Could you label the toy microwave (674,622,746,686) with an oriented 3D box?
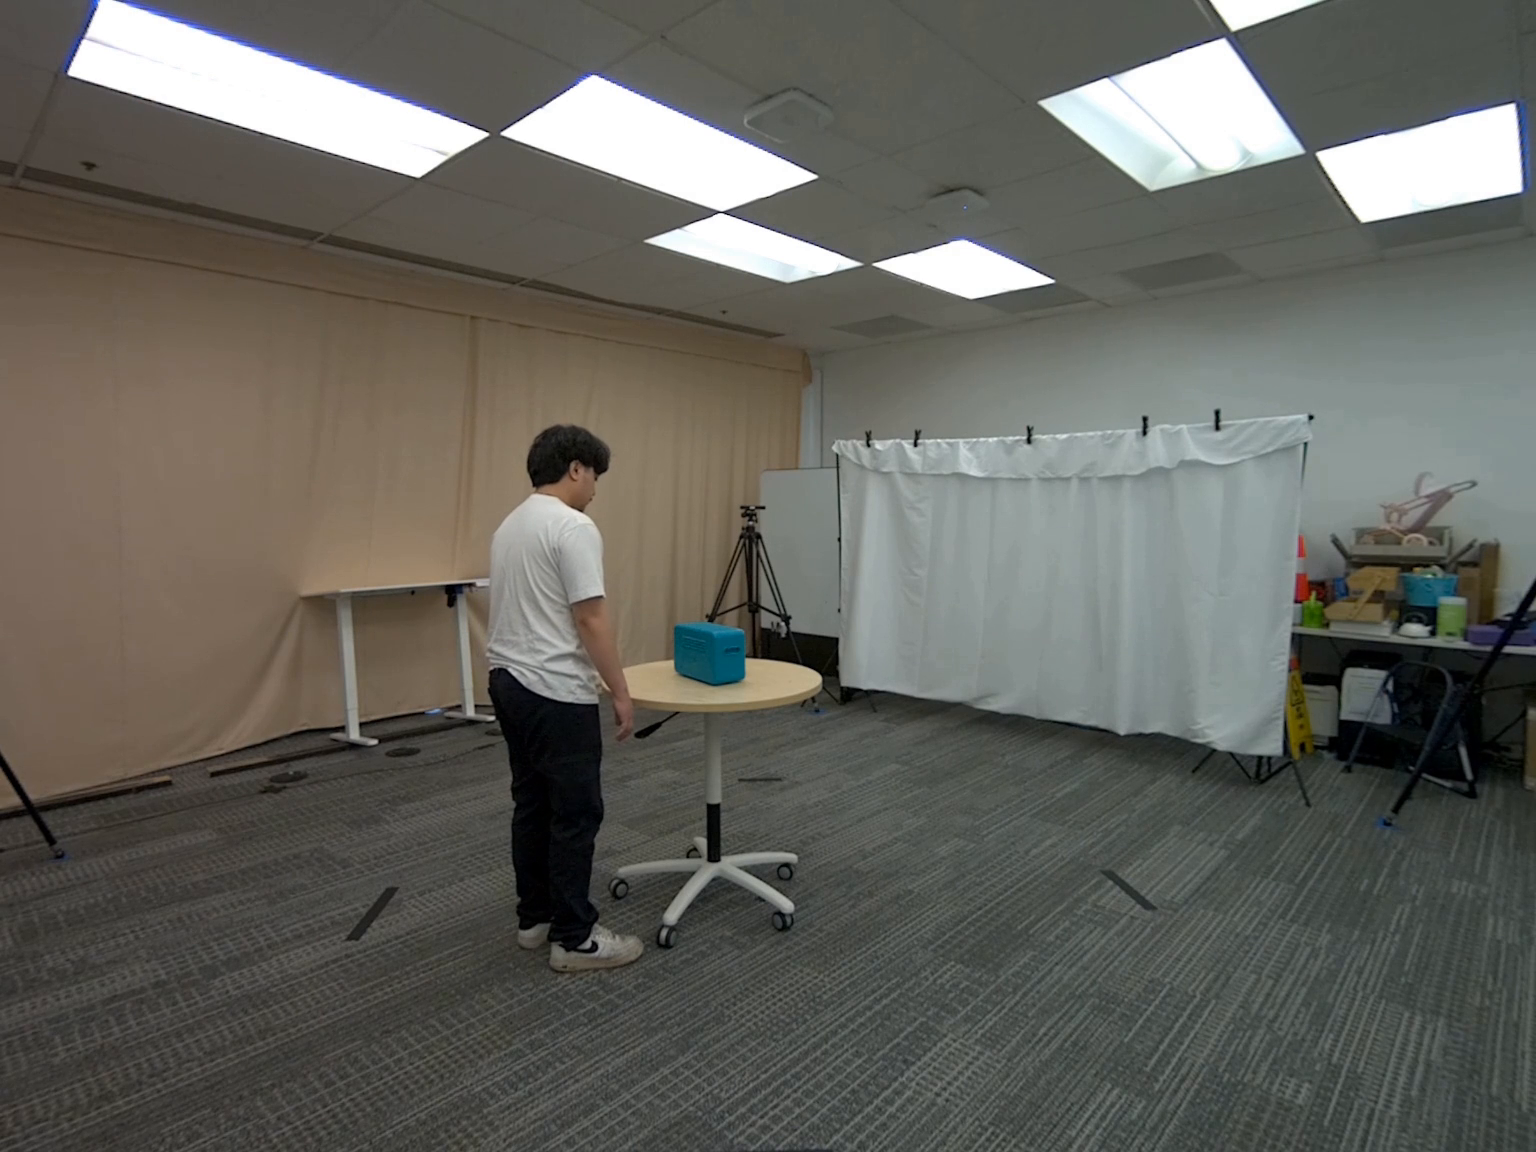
[{"bbox_3d":[-0.199,0.264,2.936,0.148,0.184,0.295,-3,4,-34],"label":"toy microwave"}]
